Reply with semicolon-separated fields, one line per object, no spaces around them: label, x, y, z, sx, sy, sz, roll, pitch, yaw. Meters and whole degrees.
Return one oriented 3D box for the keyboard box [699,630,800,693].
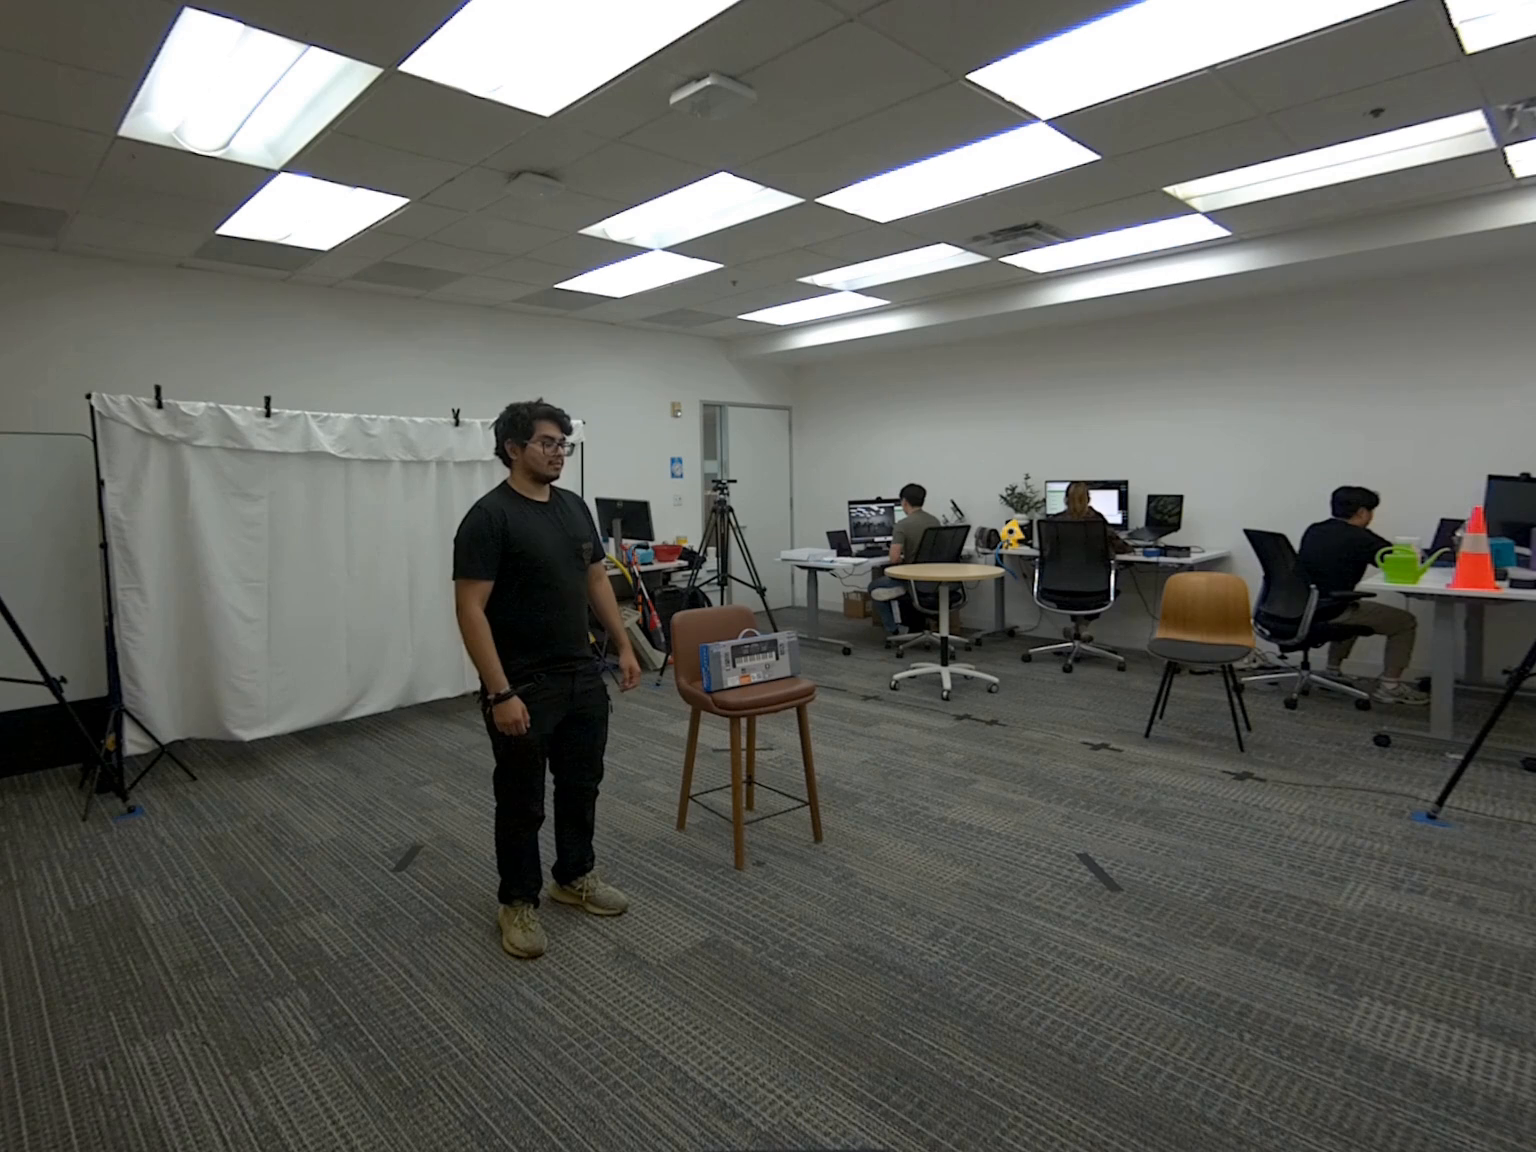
keyboard box;-0.064;0.325;3.303;0.426;0.176;0.060;-5;-2;-35
